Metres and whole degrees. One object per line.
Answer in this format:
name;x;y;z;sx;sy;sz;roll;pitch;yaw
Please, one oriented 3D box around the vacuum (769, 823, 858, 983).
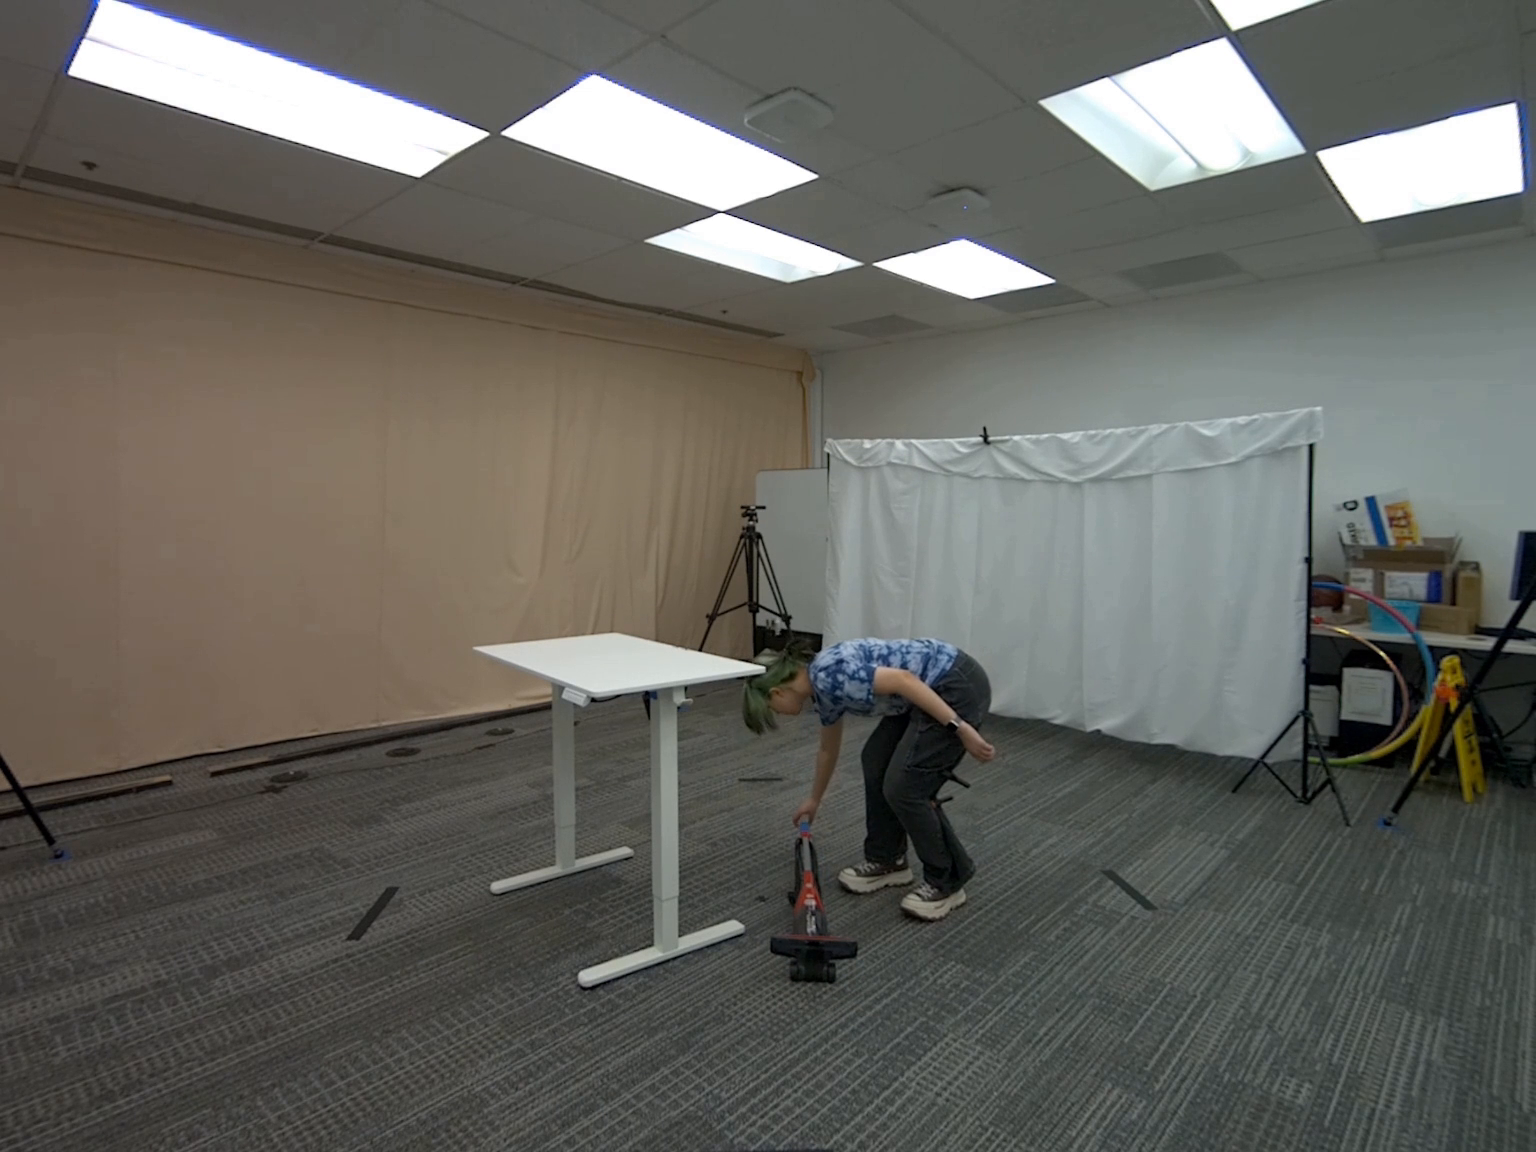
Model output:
vacuum;0.133;1.082;2.956;0.253;0.144;1.049;0;4;0
